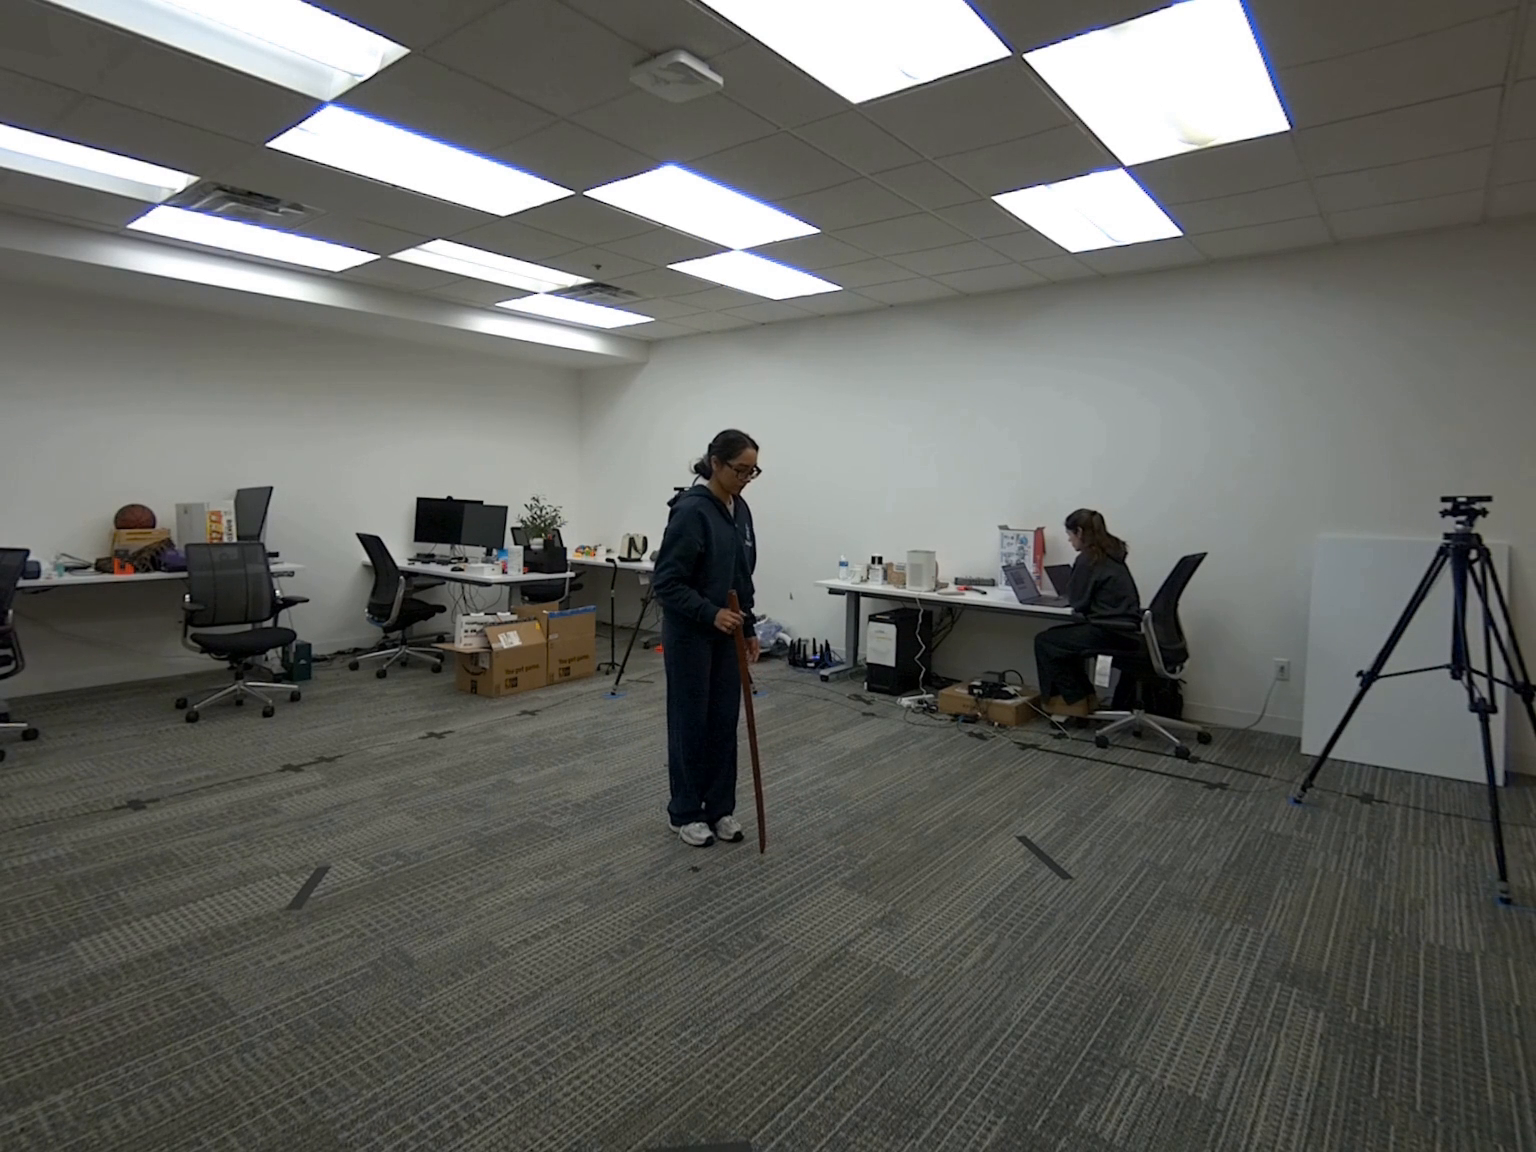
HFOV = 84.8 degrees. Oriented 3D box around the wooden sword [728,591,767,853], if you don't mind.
[{"bbox_3d":[-0.067,0.564,3.186,0.052,1.014,0.024,-1,10,13],"label":"wooden sword"}]
